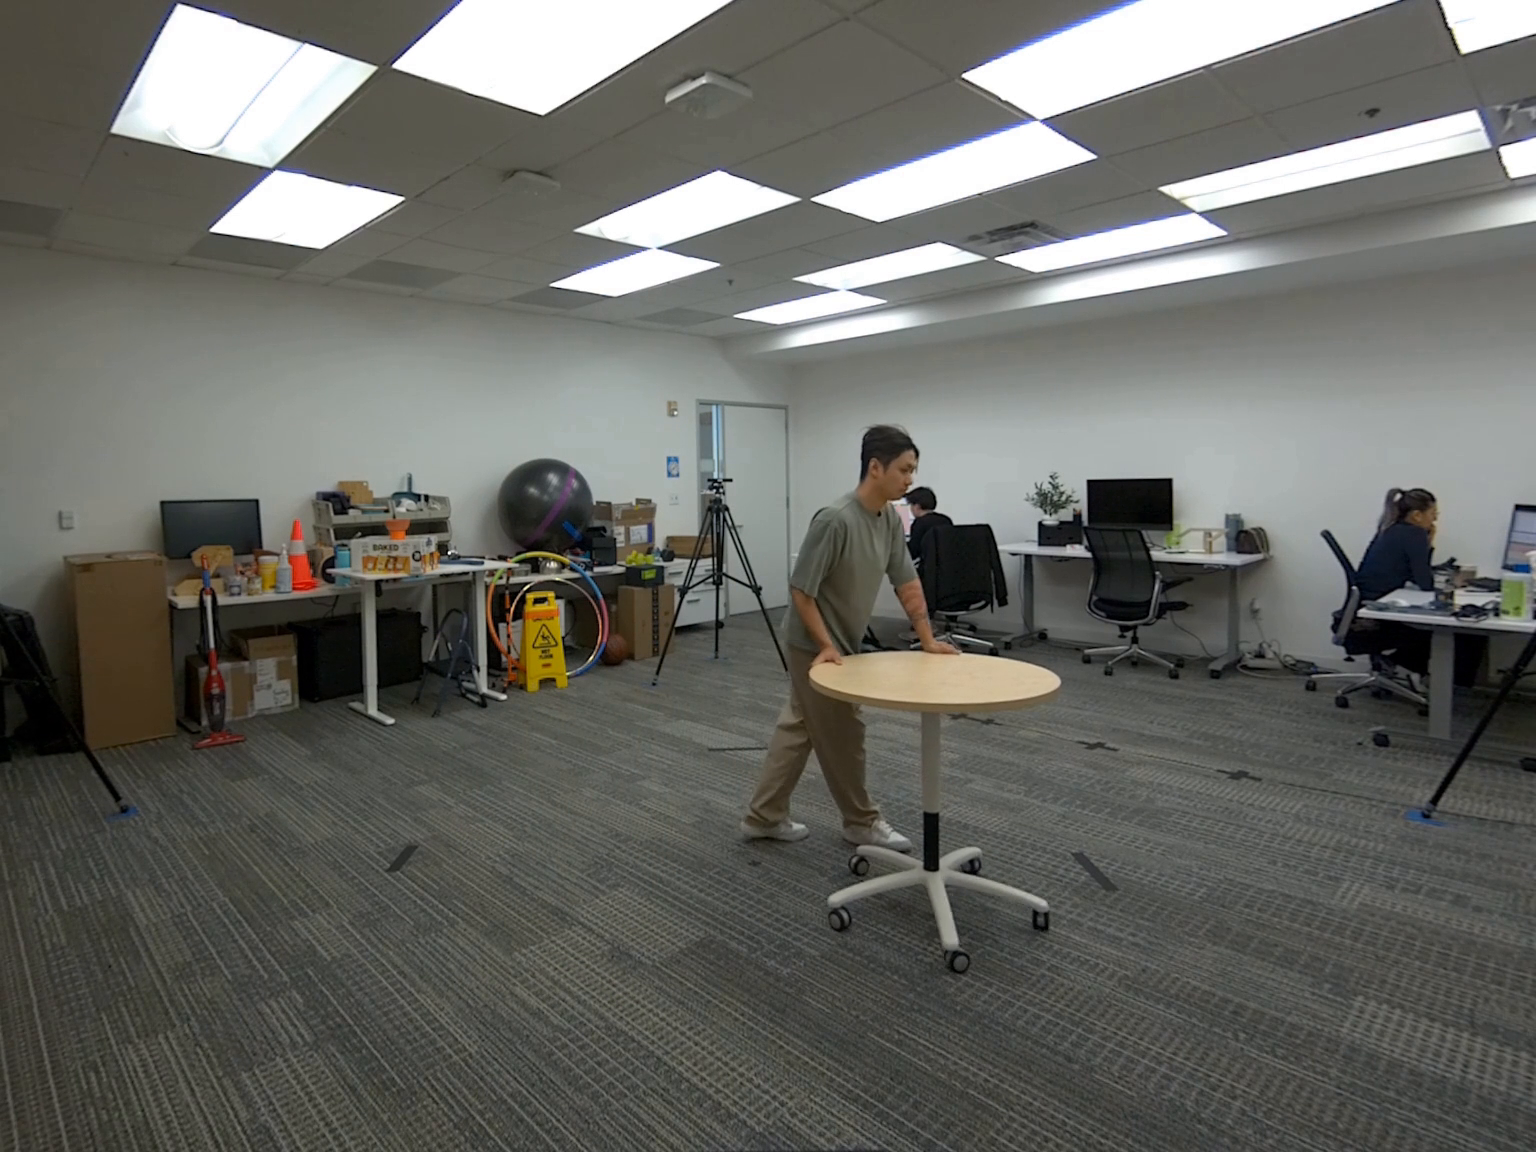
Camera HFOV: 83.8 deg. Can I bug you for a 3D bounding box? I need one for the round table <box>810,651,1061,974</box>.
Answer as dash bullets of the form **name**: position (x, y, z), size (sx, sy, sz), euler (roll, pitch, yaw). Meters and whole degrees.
- **round table**: position (0.520, 0.694, 2.710), size (0.784, 0.784, 0.789), euler (-1, 4, -2)
